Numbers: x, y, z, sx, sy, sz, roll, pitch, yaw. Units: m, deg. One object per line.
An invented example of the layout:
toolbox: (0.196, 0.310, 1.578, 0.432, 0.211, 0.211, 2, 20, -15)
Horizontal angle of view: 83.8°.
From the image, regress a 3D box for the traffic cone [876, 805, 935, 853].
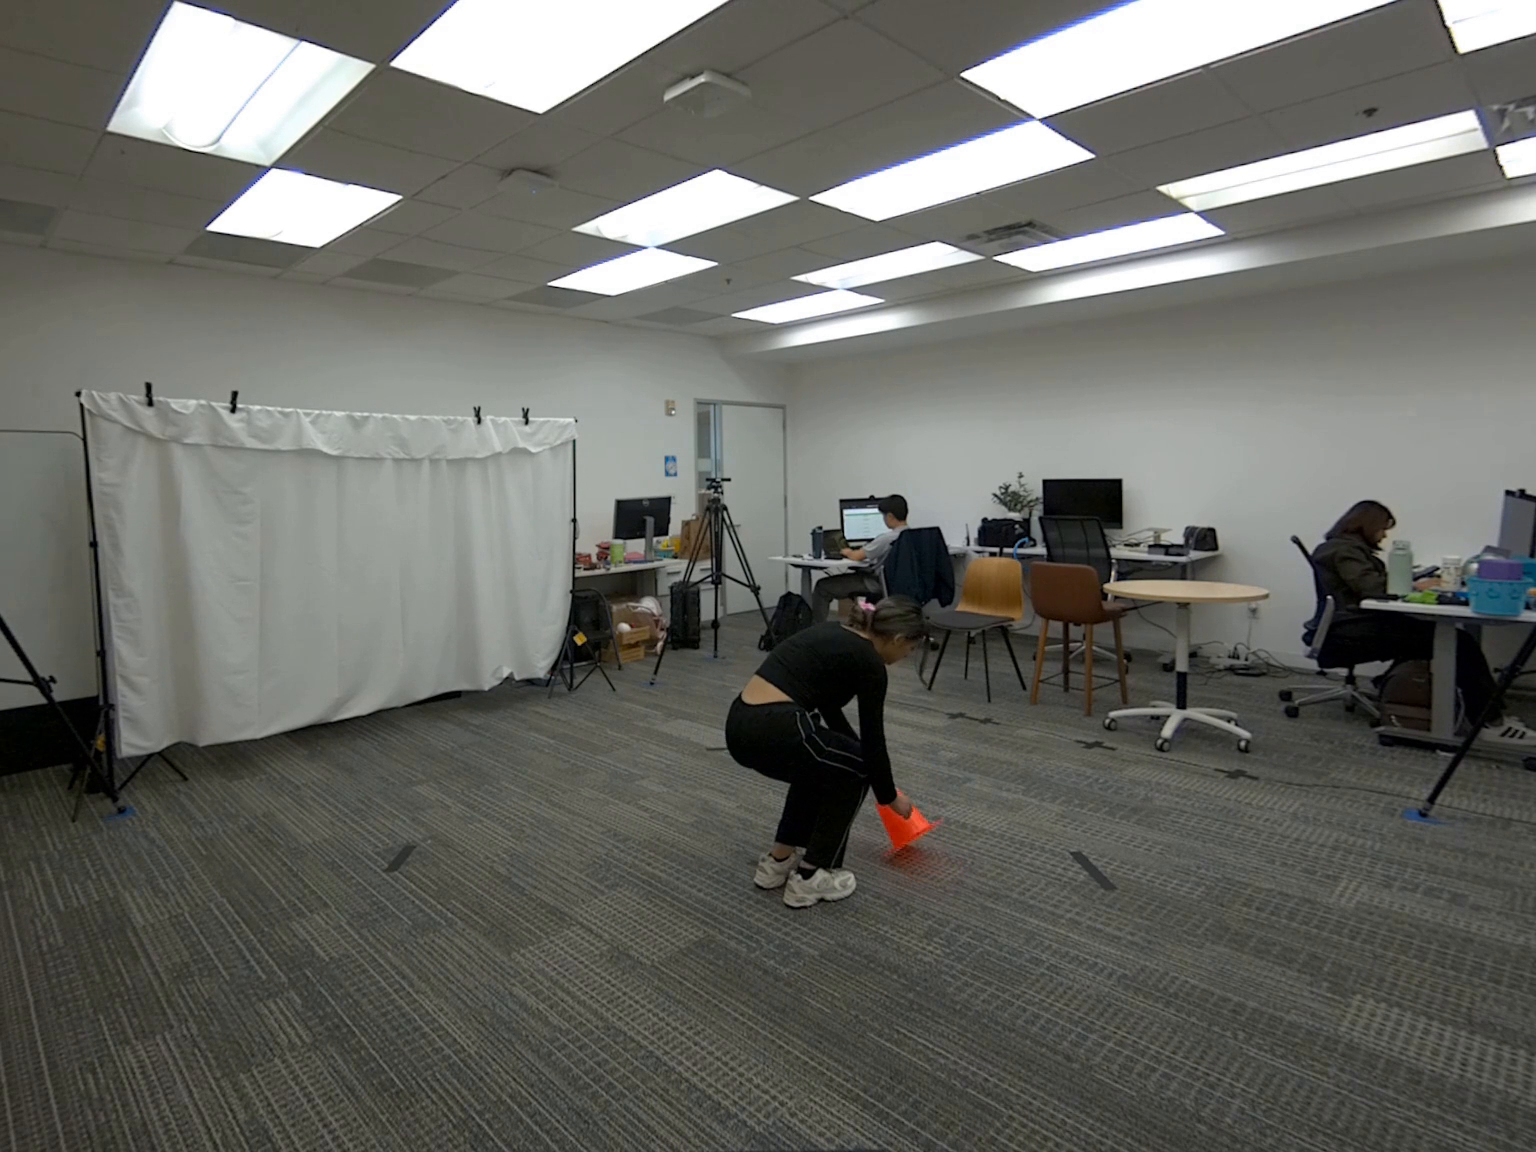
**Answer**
traffic cone: (0.444, 0.817, 3.210, 0.203, 0.396, 0.198, -45, -30, 26)
